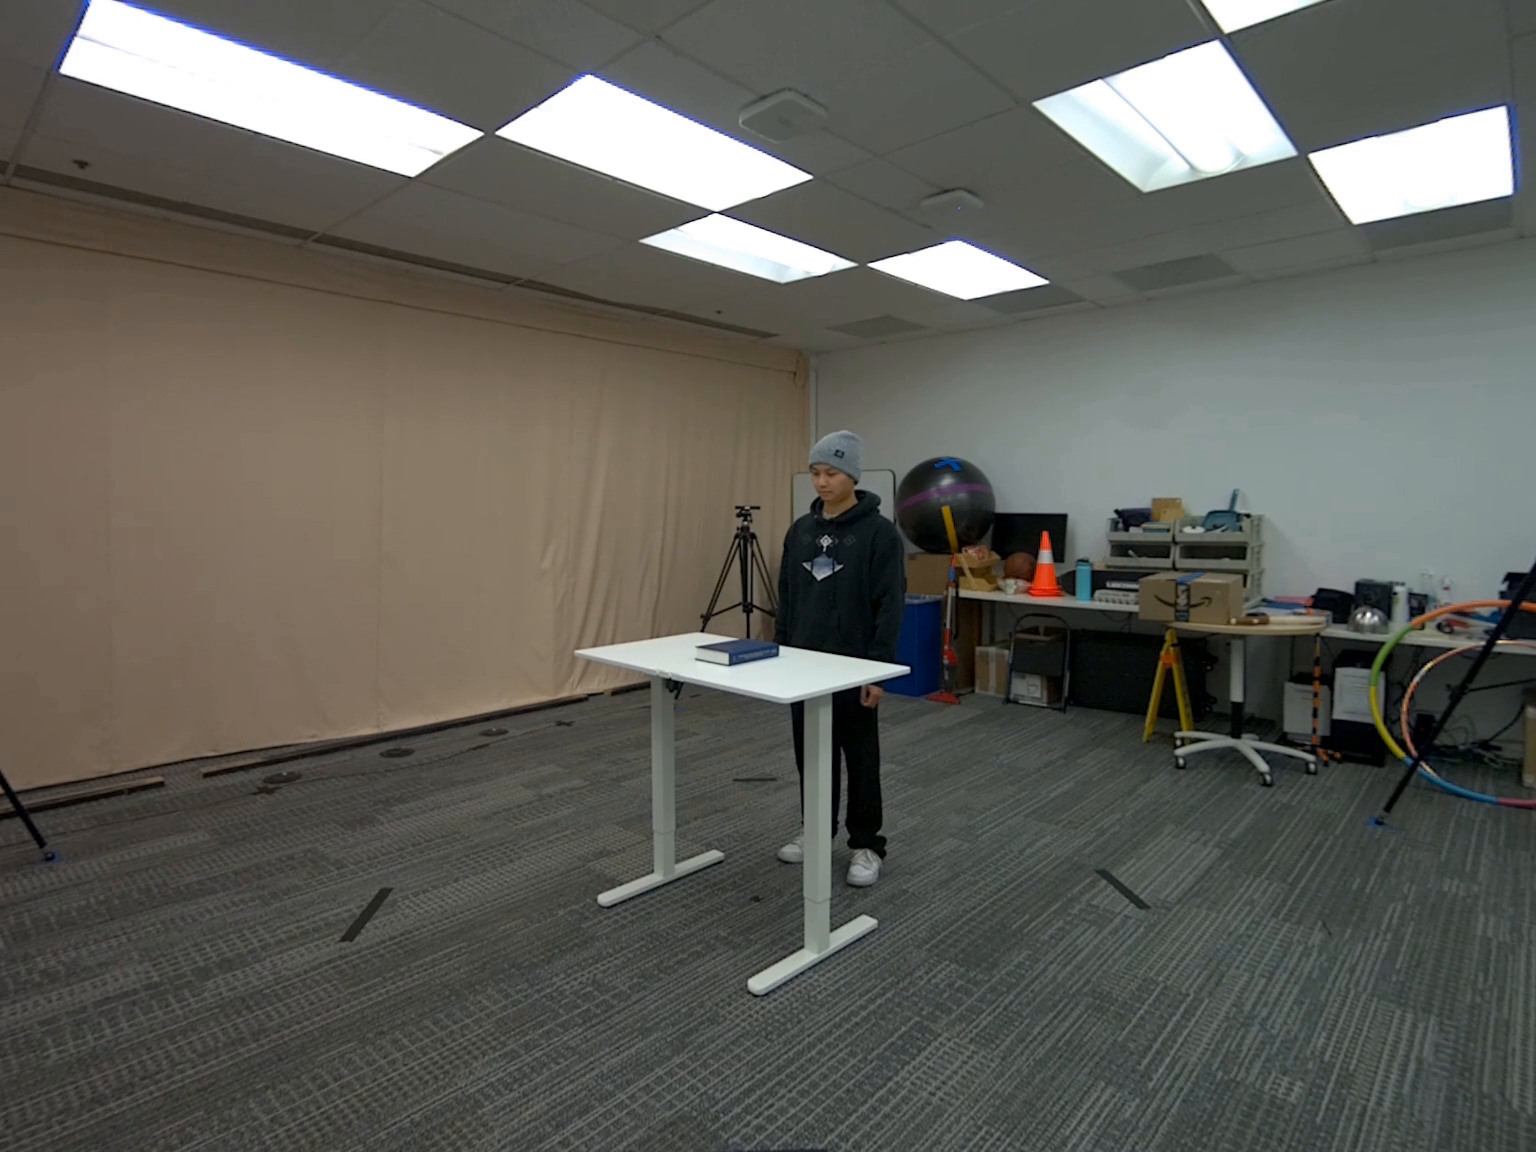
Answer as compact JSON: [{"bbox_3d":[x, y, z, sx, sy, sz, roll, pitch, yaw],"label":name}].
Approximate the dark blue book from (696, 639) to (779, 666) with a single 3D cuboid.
[{"bbox_3d":[-0.100,0.258,2.814,0.169,0.045,0.238,5,7,44],"label":"dark blue book"}]
